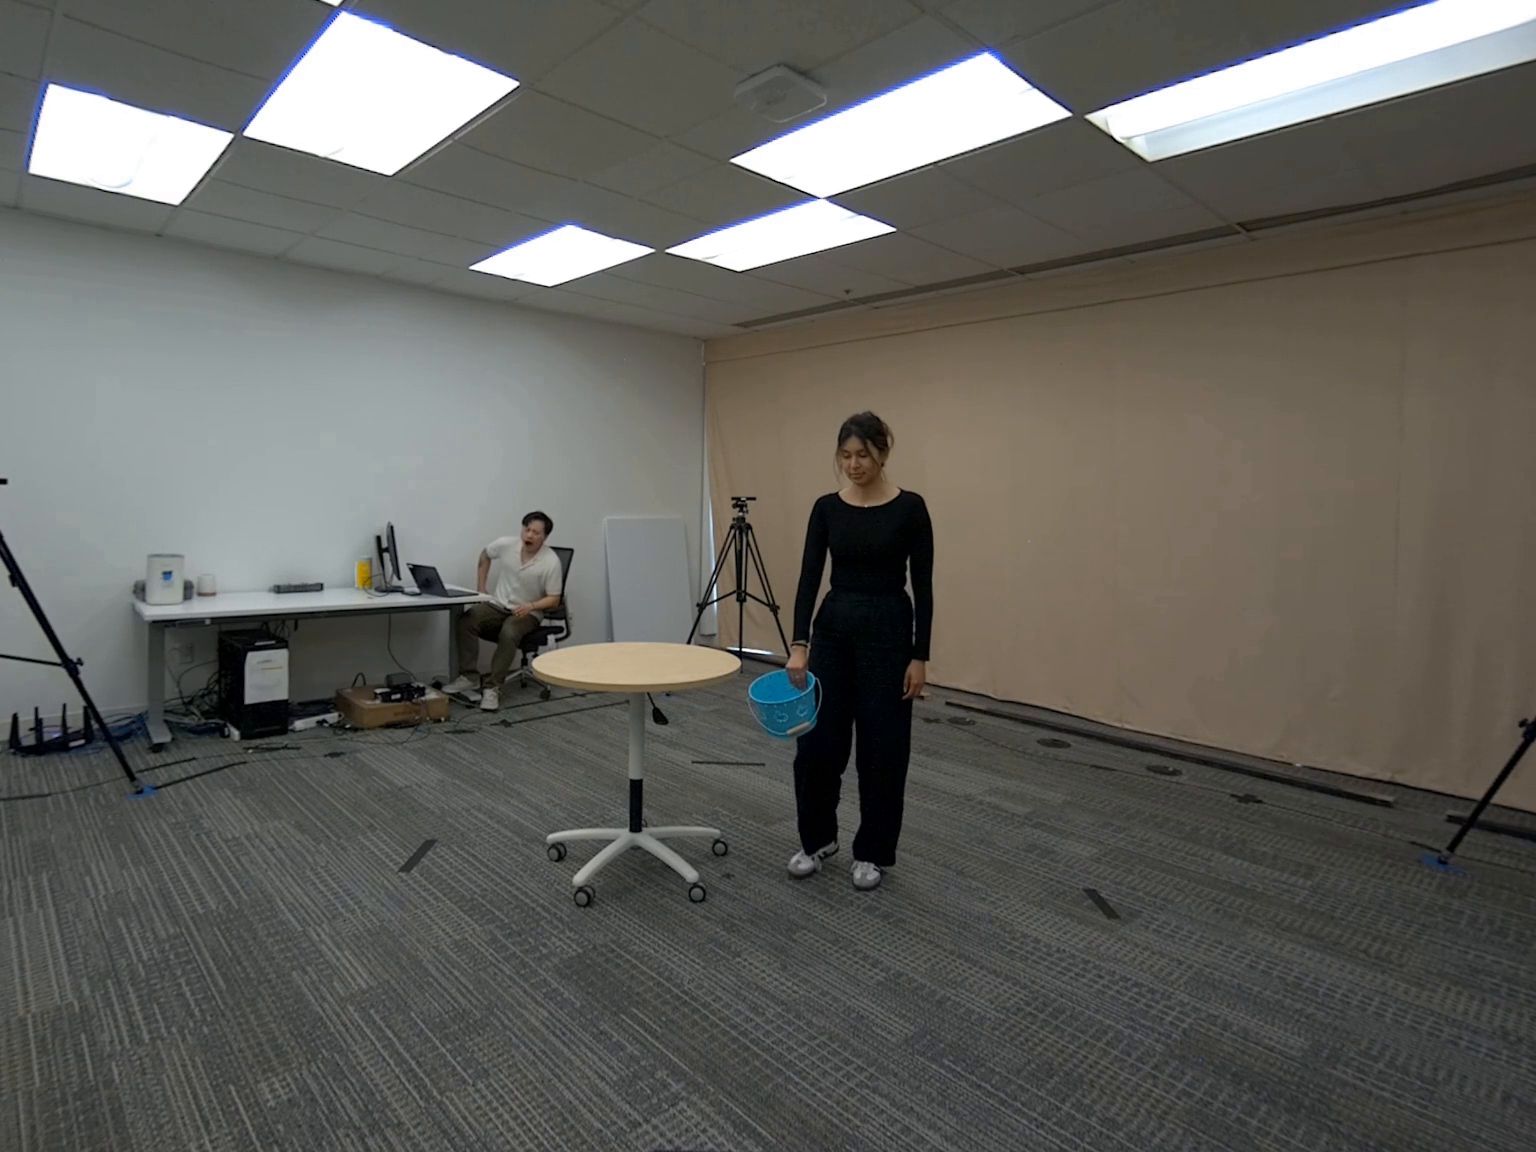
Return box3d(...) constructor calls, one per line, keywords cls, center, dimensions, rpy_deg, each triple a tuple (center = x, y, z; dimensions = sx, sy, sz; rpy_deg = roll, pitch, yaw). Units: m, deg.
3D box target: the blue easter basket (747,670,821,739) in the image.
box3d(cls="blue easter basket", center=(0.045, 0.443, 2.854), dimensions=(0.244, 0.154, 0.246), rpy_deg=(-14, 16, 2))
